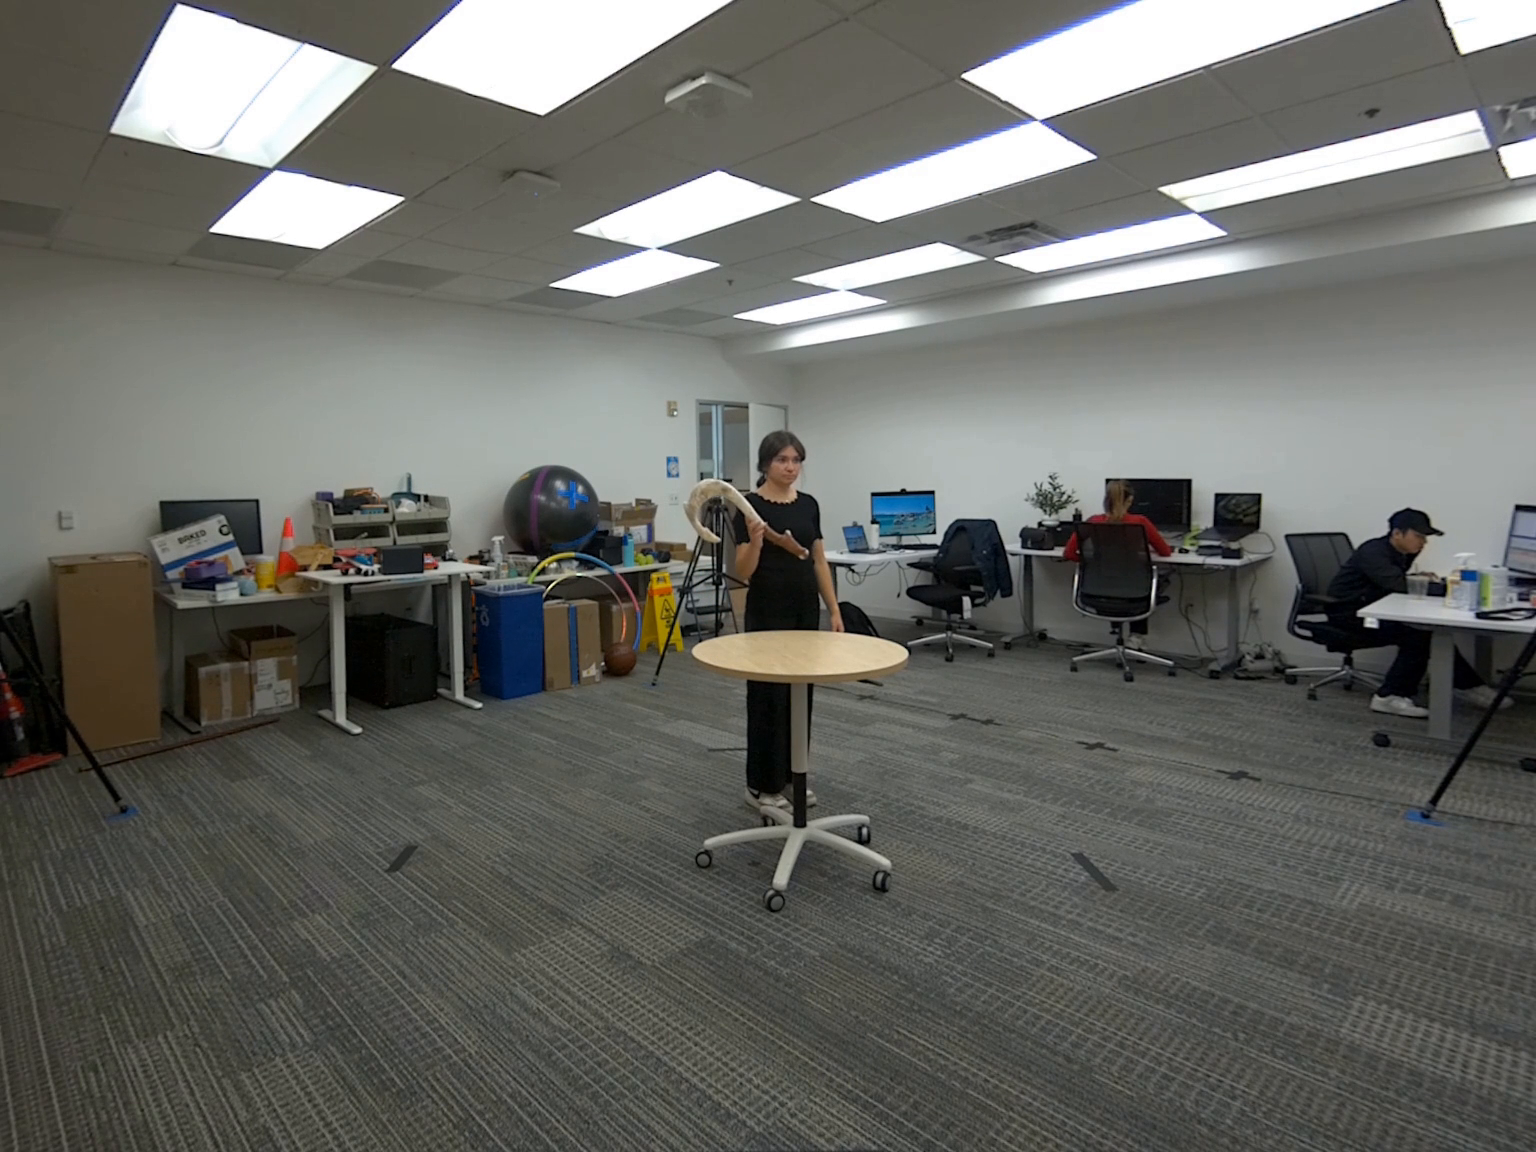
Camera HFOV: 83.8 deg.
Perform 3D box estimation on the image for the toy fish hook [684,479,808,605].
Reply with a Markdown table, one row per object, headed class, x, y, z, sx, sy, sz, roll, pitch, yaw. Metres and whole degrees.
| class | x | y | z | sx | sy | sz | roll | pitch | yaw |
| --- | --- | --- | --- | --- | --- | --- | --- | --- | --- |
| toy fish hook | -0.080 | -0.161 | 3.247 | 0.505 | 0.224 | 0.048 | 35 | 1 | -2 |
